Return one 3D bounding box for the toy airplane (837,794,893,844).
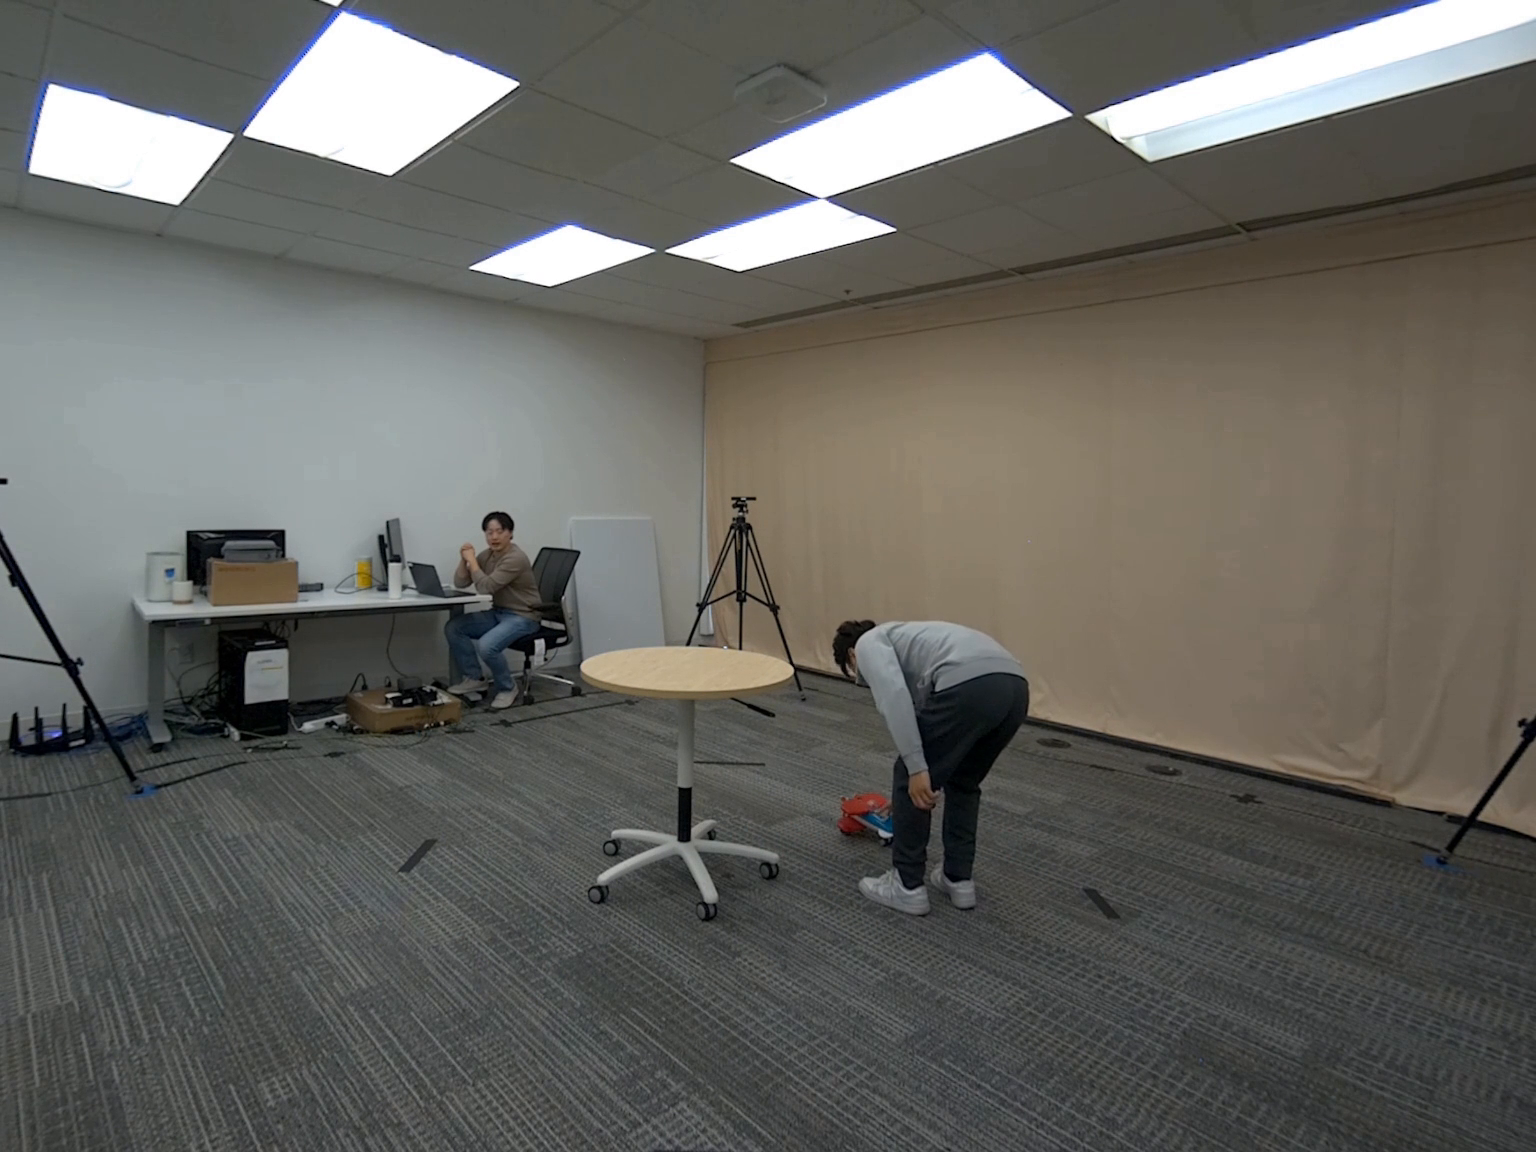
[{"bbox_3d":[0.420,1.011,3.509,0.263,0.156,0.248,2,3,18],"label":"toy airplane"}]
